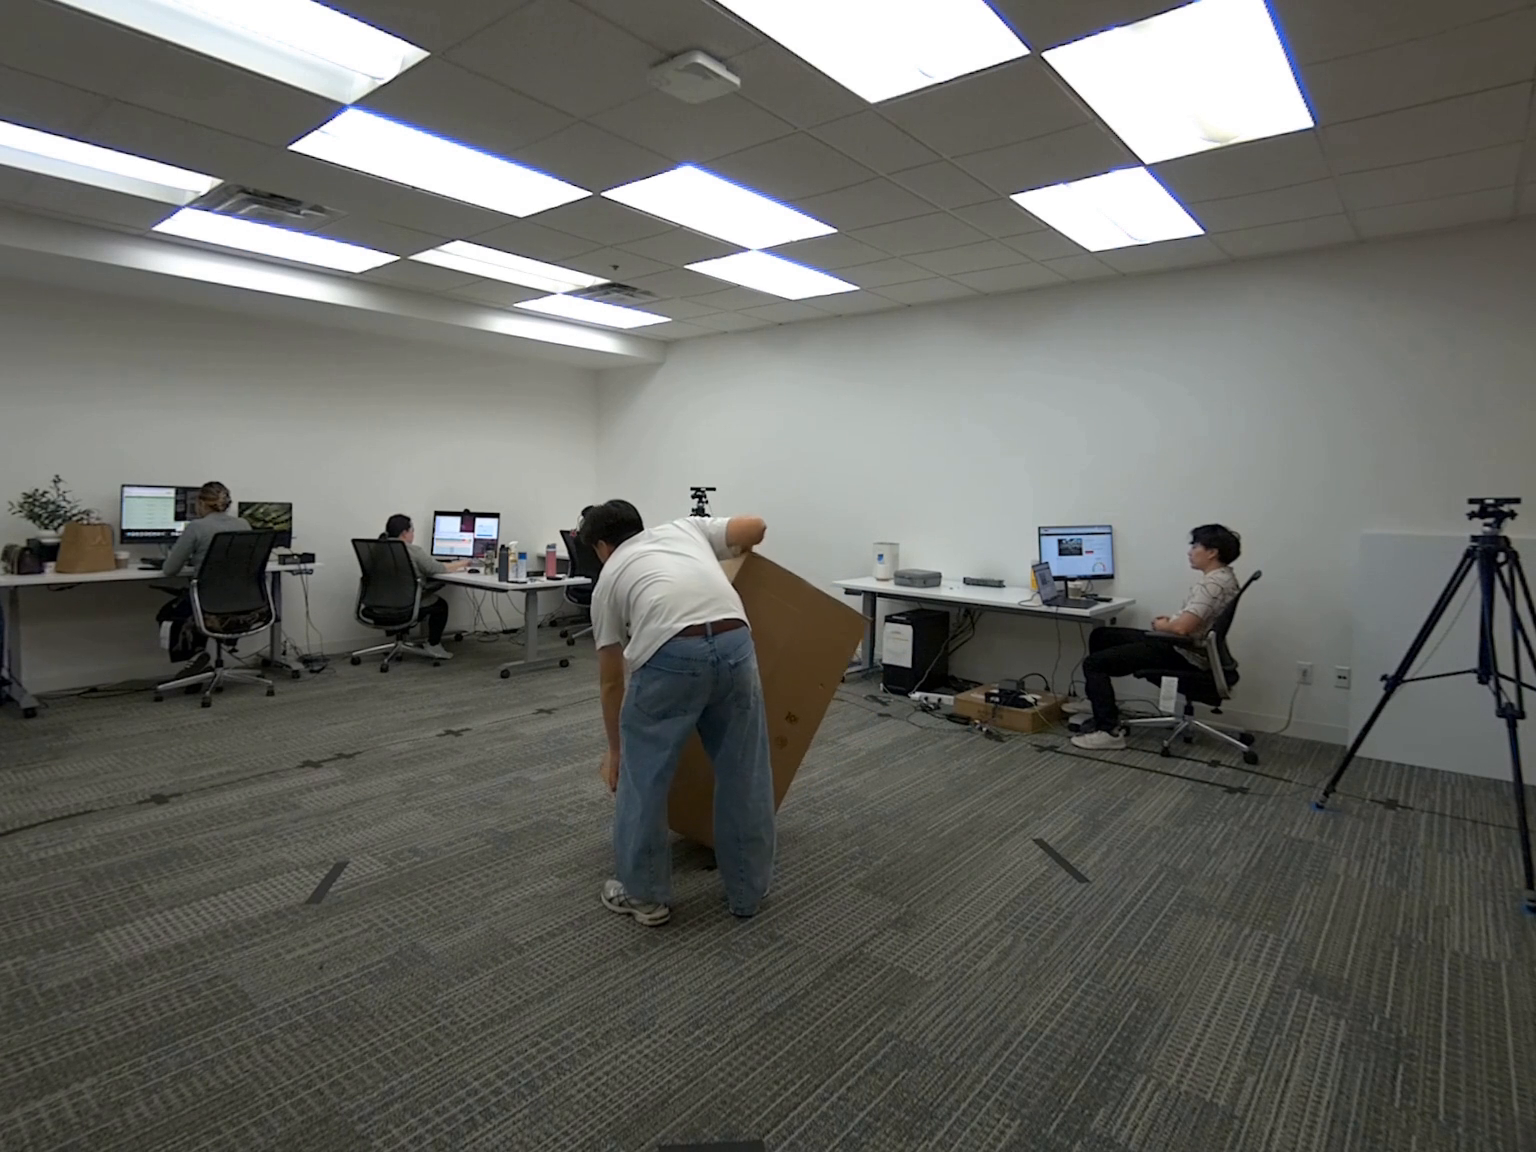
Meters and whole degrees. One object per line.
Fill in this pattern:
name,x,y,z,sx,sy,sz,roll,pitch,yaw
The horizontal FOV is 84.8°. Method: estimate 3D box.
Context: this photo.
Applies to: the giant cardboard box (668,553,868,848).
giant cardboard box,-0.144,0.469,3.316,0.564,1.028,0.435,29,-7,-18
